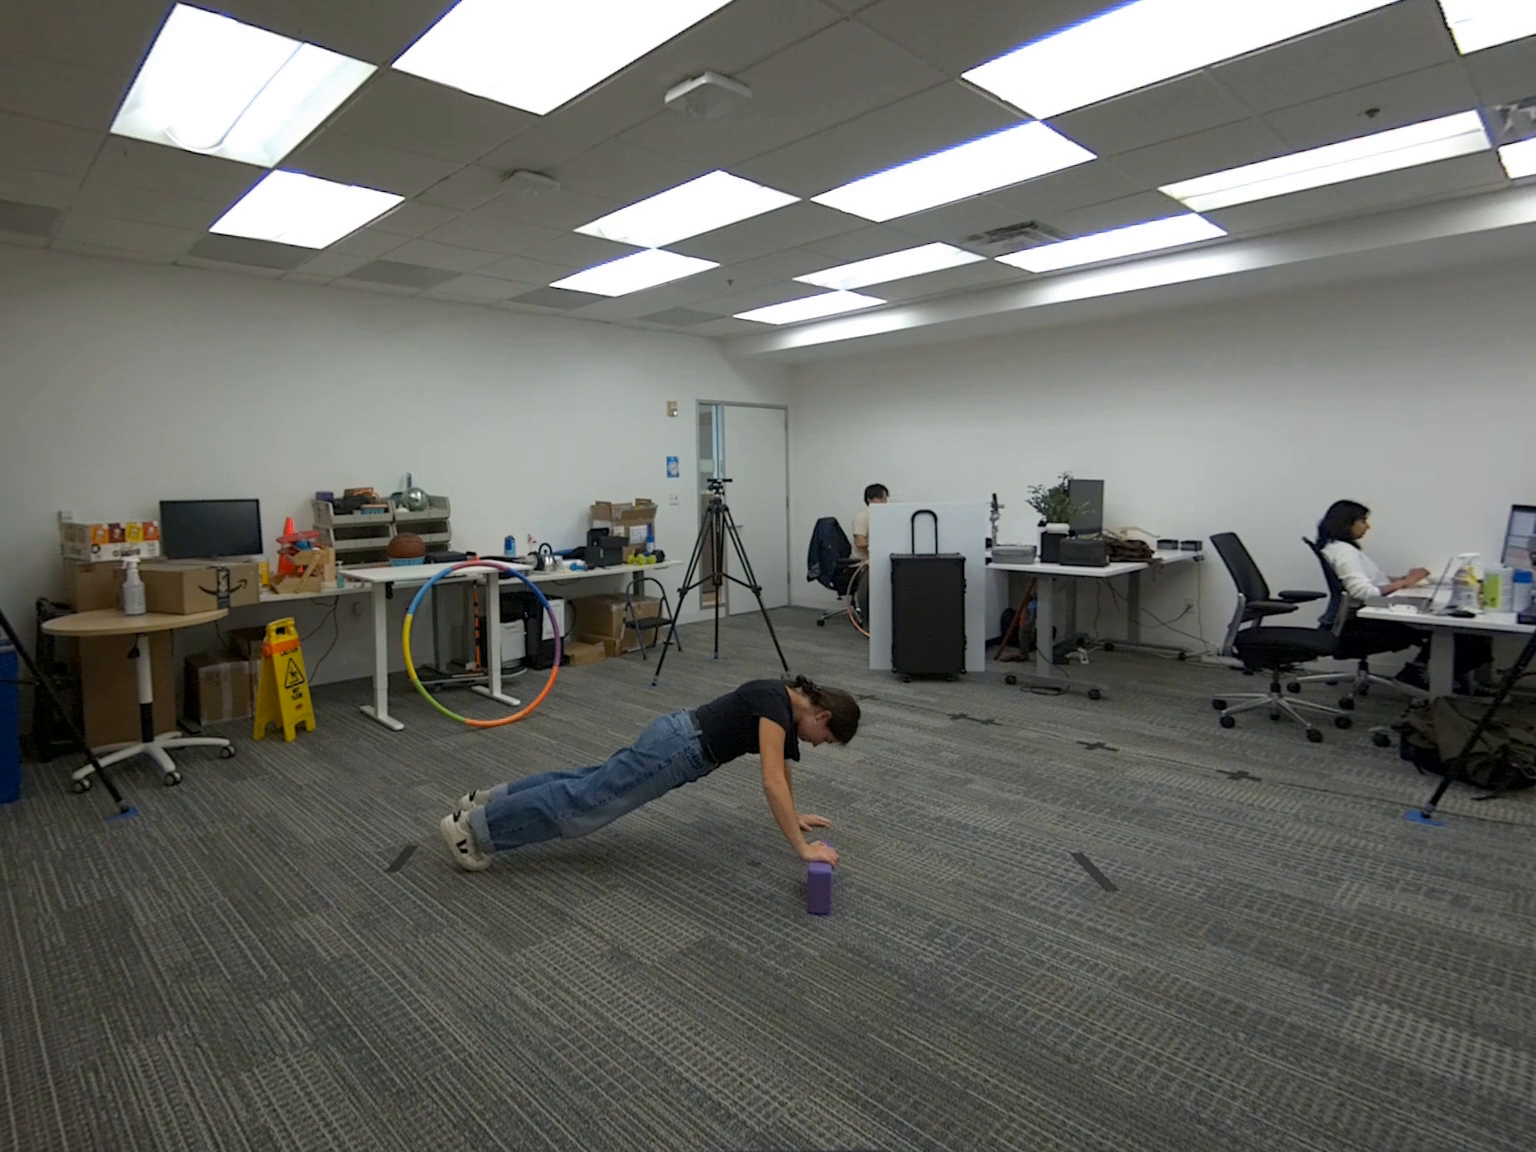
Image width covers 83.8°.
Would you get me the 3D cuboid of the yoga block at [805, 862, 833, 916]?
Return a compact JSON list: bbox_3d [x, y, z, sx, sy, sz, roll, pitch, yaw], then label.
[{"bbox_3d":[0.170,0.998,2.843,0.077,0.149,0.228,-2,3,5],"label":"yoga block"}]
